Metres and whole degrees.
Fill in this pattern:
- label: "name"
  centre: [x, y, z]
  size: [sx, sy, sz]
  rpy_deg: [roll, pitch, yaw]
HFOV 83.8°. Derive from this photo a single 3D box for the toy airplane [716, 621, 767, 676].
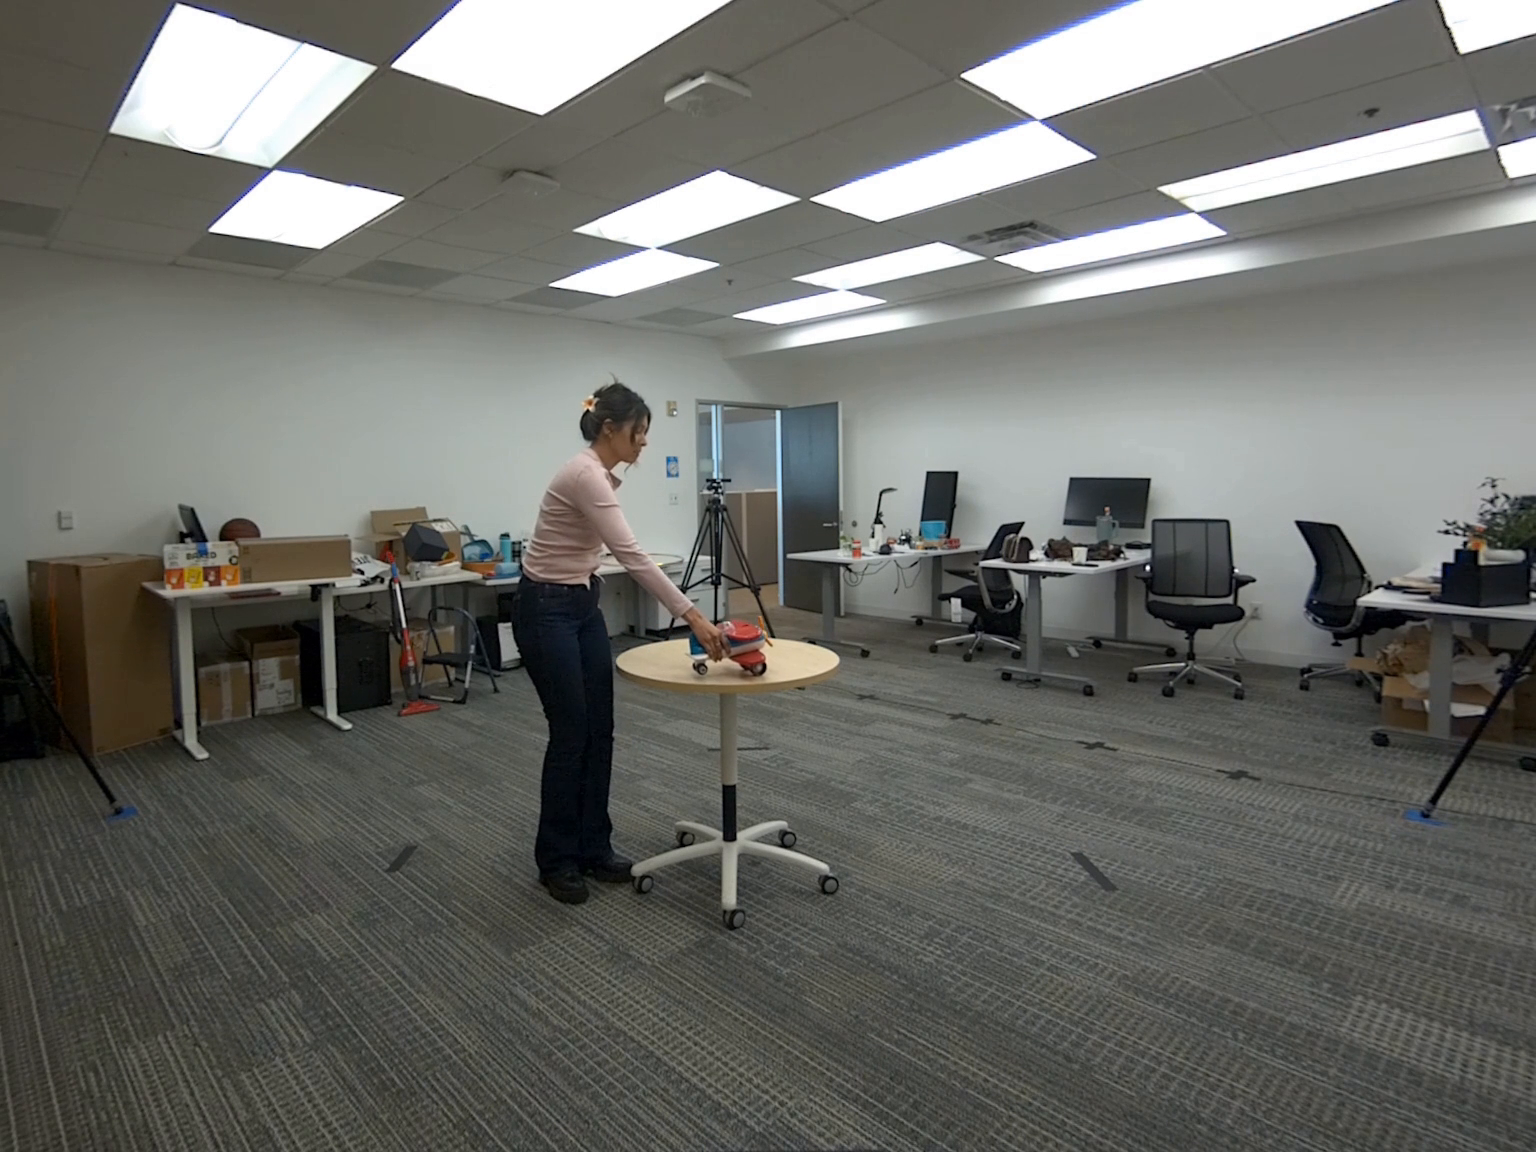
- label: "toy airplane"
  centre: [-0.118, 0.230, 2.669]
  size: [0.259, 0.156, 0.252]
  rpy_deg: [10, 7, 43]
